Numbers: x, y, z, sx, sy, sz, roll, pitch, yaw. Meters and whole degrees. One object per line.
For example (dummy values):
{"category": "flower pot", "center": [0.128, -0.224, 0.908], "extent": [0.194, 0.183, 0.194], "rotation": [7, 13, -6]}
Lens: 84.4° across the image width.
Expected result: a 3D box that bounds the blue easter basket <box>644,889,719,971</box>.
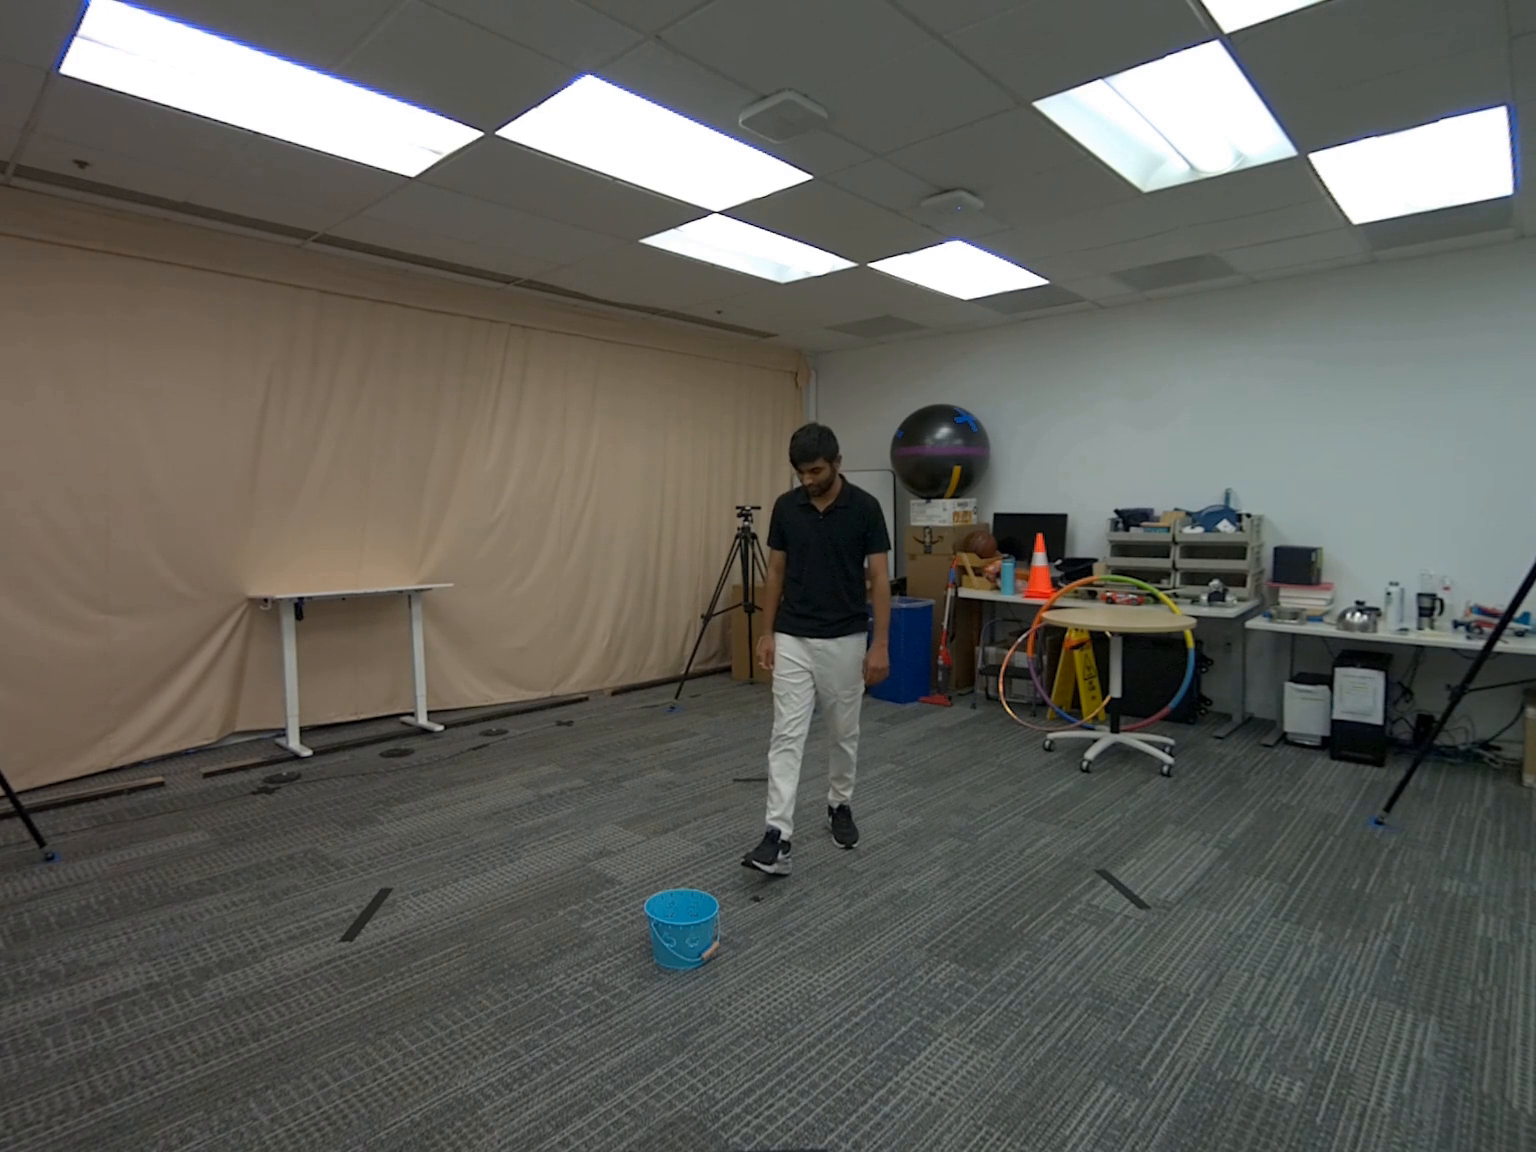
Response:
{"category": "blue easter basket", "center": [-0.262, 1.098, 2.607], "extent": [0.243, 0.155, 0.244], "rotation": [-1, 4, -2]}
